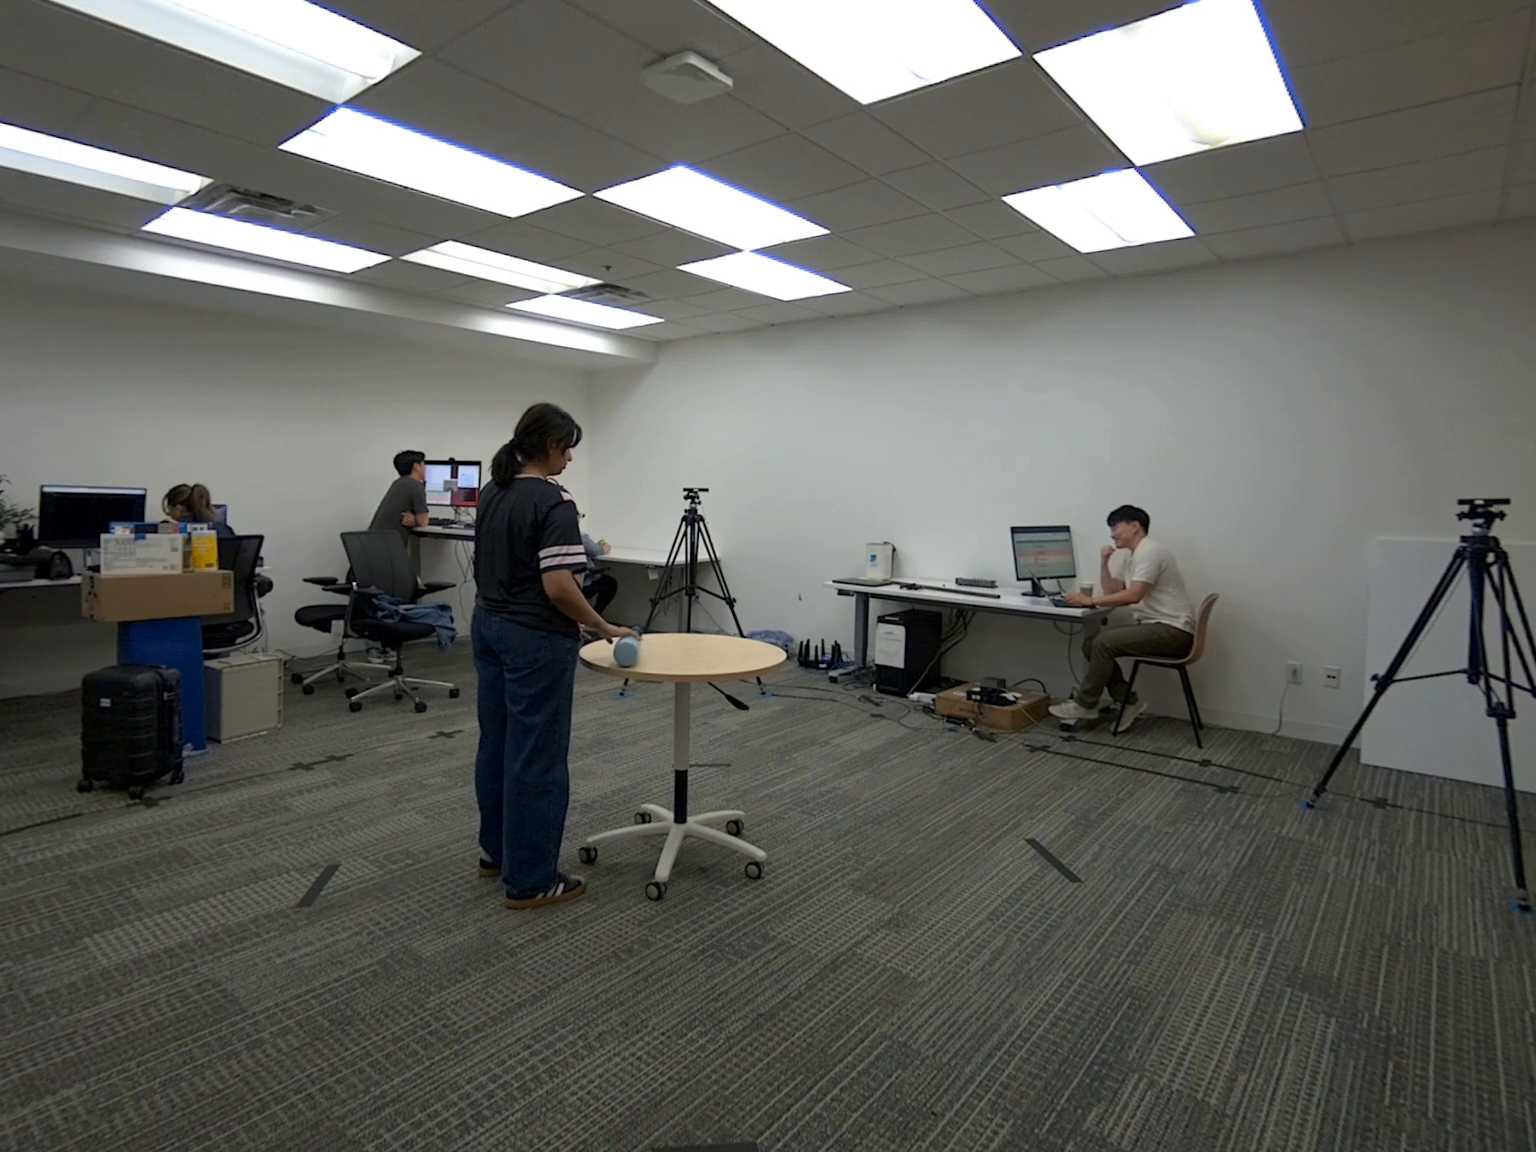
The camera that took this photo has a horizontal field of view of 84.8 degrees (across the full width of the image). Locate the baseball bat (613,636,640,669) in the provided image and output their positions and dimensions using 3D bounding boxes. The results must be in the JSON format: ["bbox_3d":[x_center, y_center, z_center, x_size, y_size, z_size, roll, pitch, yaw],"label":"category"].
[{"bbox_3d":[-0.520,0.246,3.102,0.088,0.089,0.547,0,3,-8],"label":"baseball bat"}]
